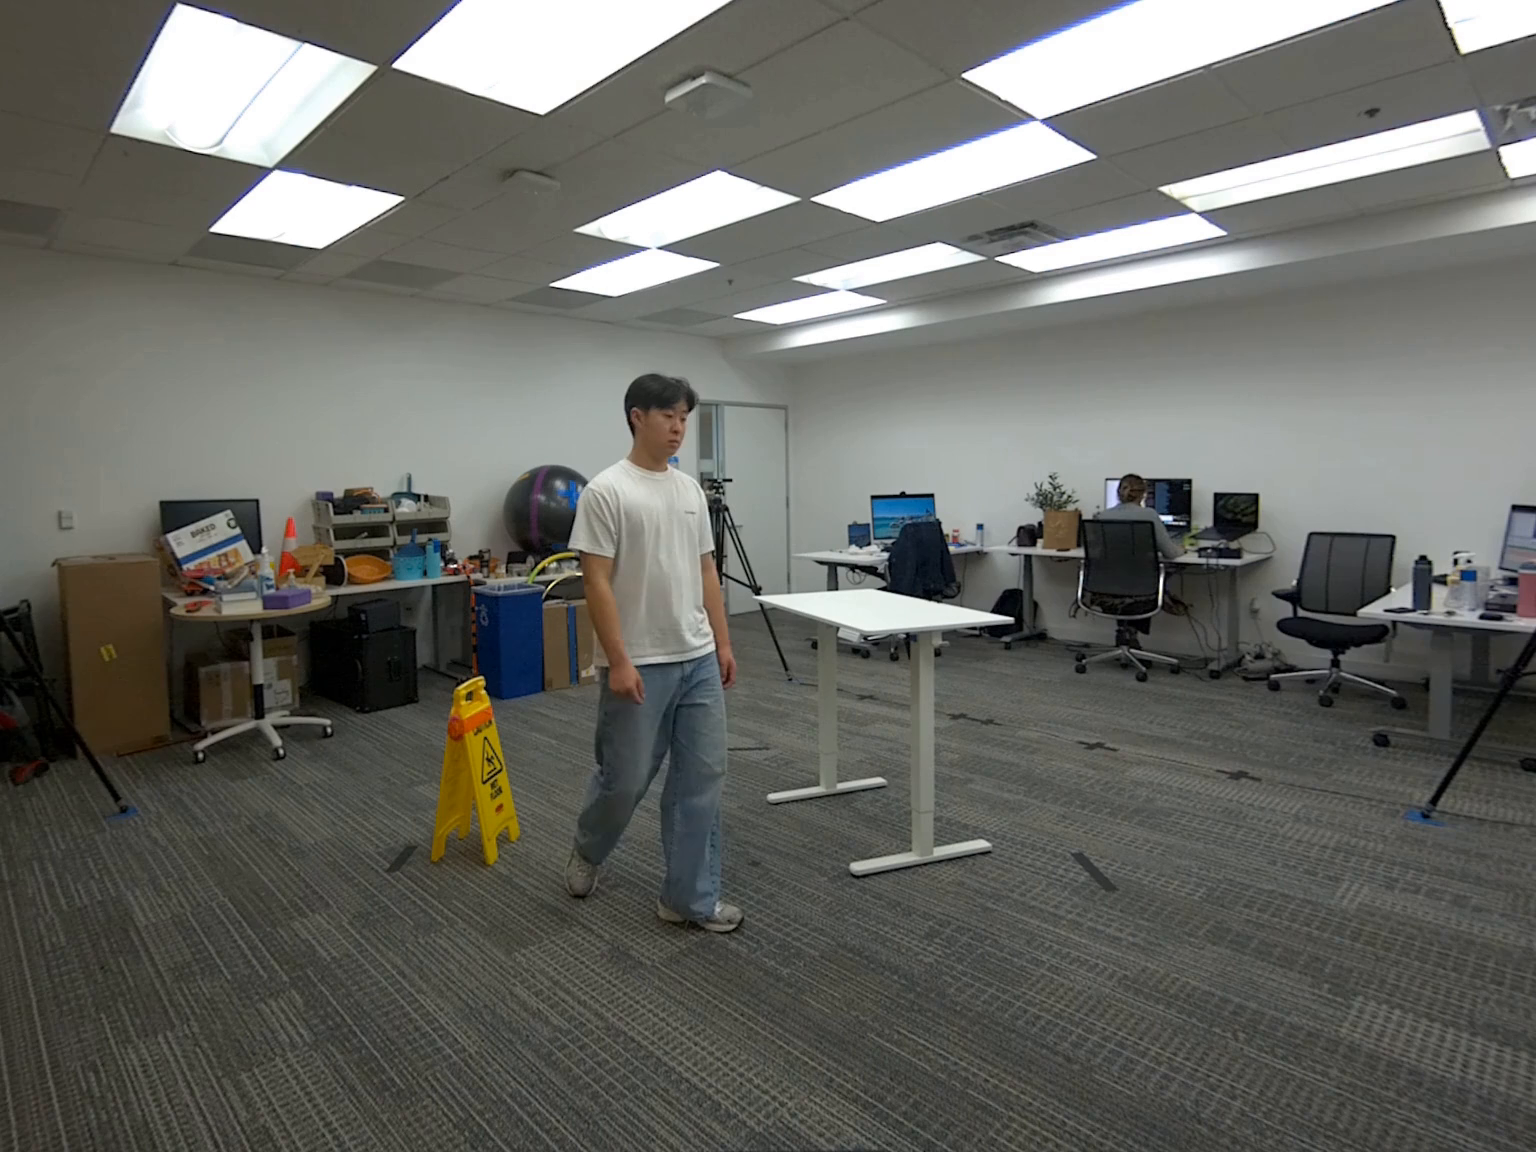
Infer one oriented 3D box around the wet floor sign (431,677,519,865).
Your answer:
[{"bbox_3d":[-1.129,0.722,3.263,0.292,0.644,0.281,-1,3,8],"label":"wet floor sign"}]
